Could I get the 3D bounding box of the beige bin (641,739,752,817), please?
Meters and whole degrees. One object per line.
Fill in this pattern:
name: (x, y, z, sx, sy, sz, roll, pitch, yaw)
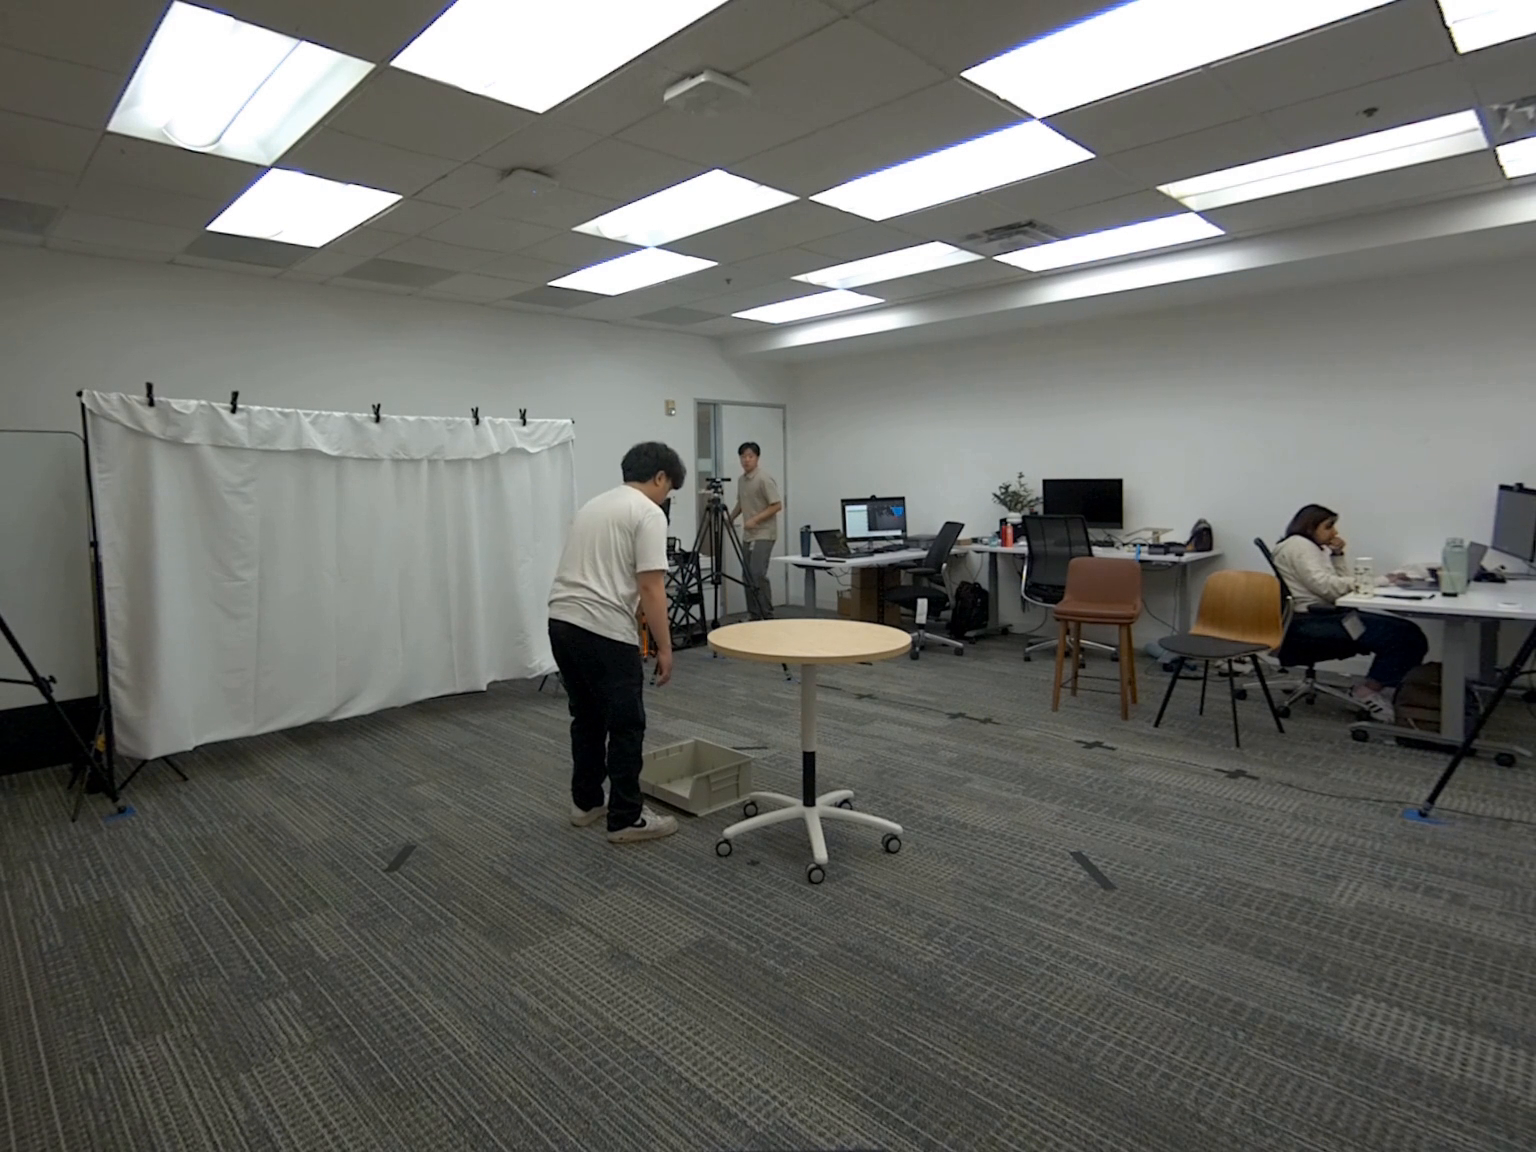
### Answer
beige bin: (-0.331, 0.883, 3.776, 0.367, 0.188, 0.435, -5, 7, -43)
